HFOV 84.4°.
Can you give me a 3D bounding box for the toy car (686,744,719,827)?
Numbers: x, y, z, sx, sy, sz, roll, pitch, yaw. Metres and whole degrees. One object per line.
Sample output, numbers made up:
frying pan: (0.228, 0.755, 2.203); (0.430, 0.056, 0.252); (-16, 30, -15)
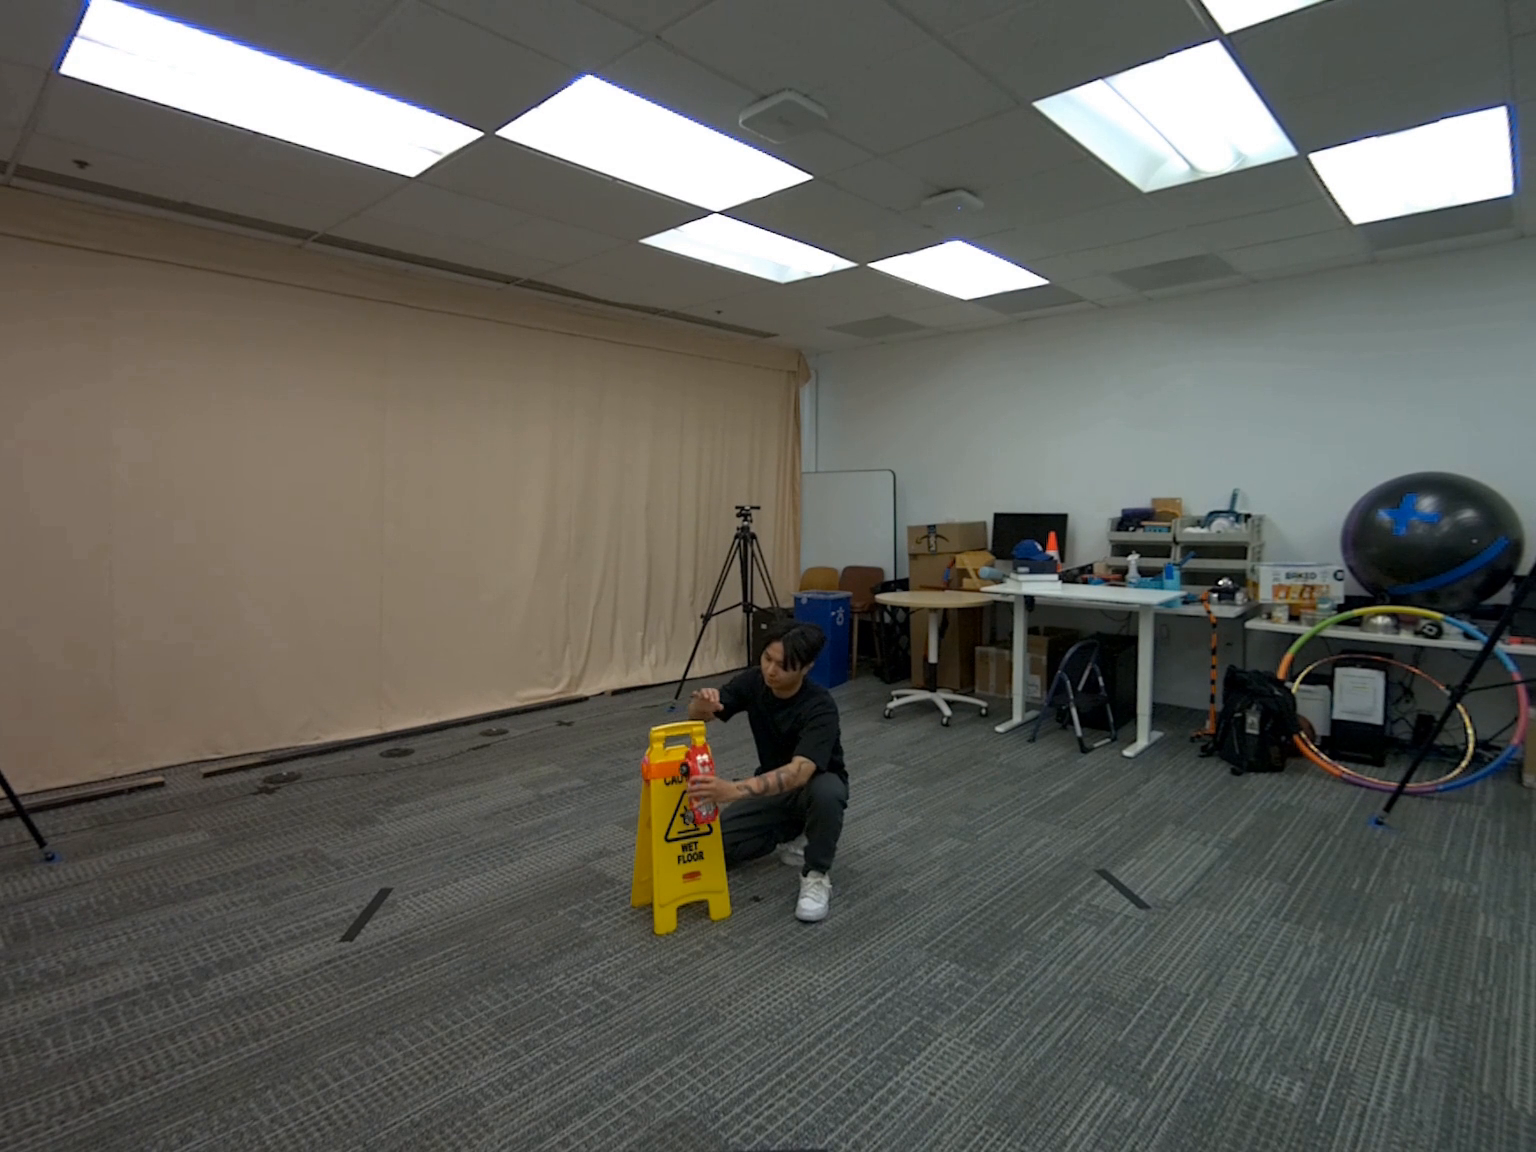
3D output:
toy car: (-0.223, 0.676, 2.748); (0.086, 0.255, 0.126); (-6, -8, 43)
